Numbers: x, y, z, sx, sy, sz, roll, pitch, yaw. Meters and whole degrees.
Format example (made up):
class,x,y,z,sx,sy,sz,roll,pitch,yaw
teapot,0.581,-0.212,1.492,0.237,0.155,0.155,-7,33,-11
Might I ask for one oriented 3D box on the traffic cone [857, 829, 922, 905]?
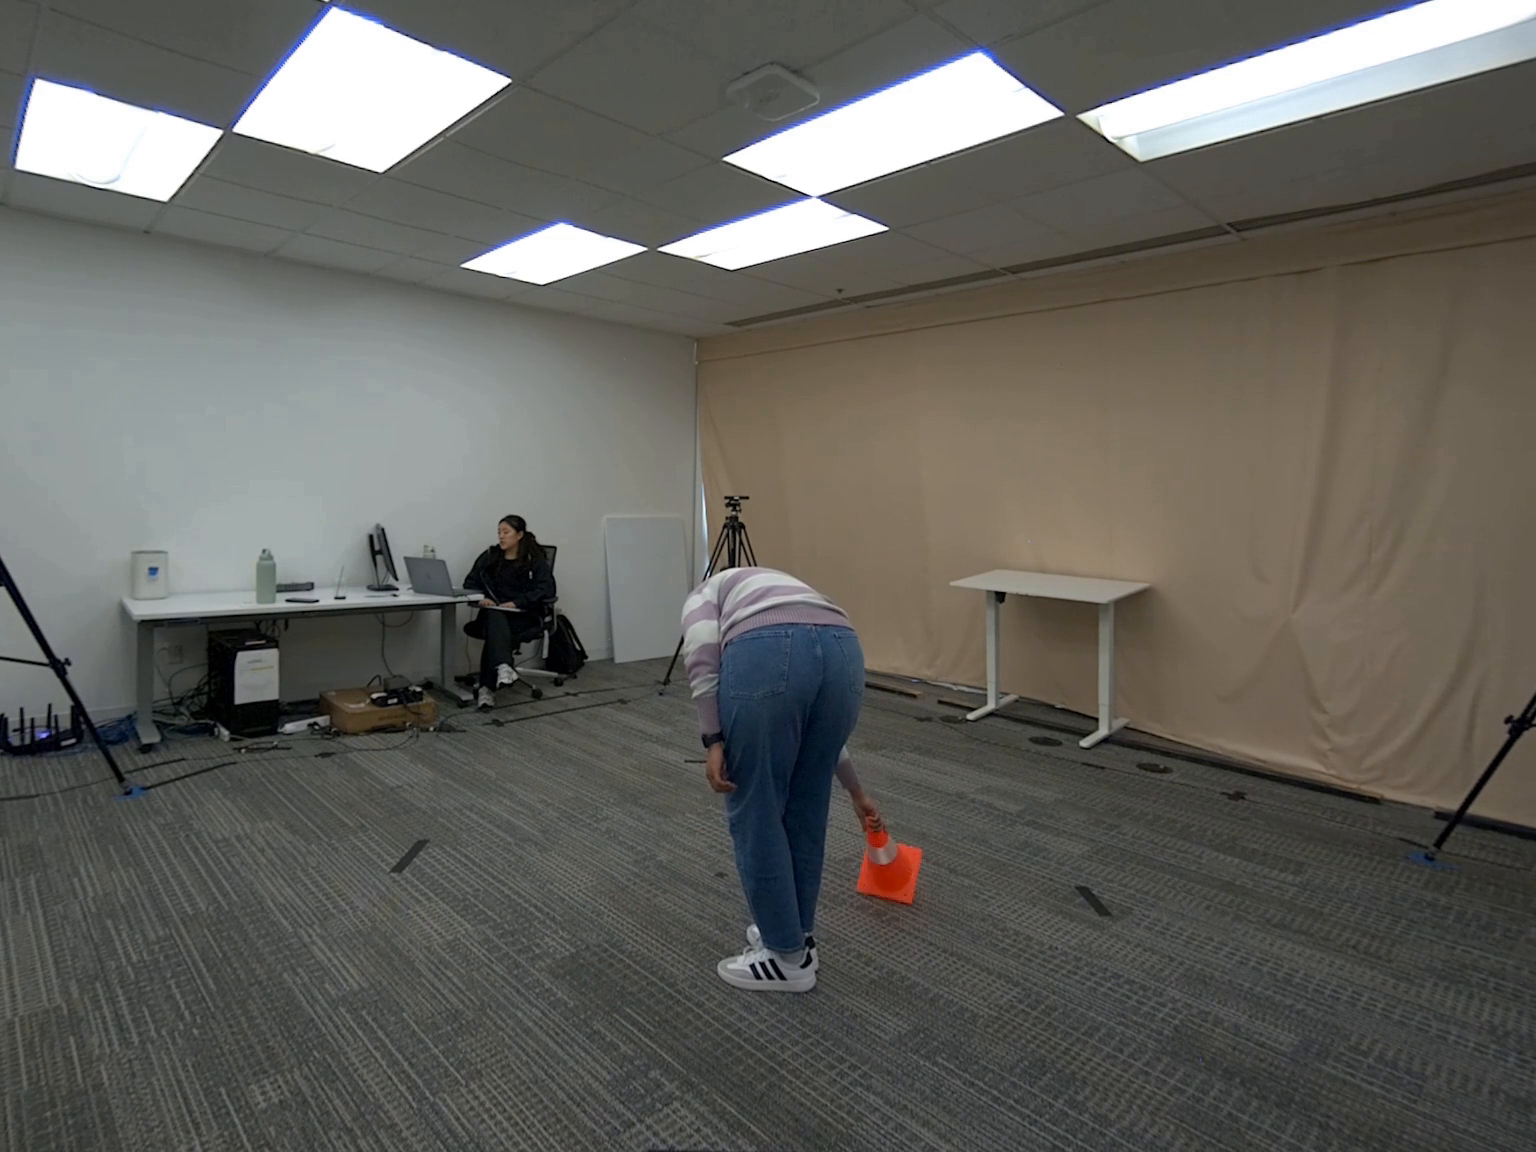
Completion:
class,x,y,z,sx,sy,sz,roll,pitch,yaw
traffic cone,0.378,0.930,2.843,0.209,0.205,0.373,6,-40,22
